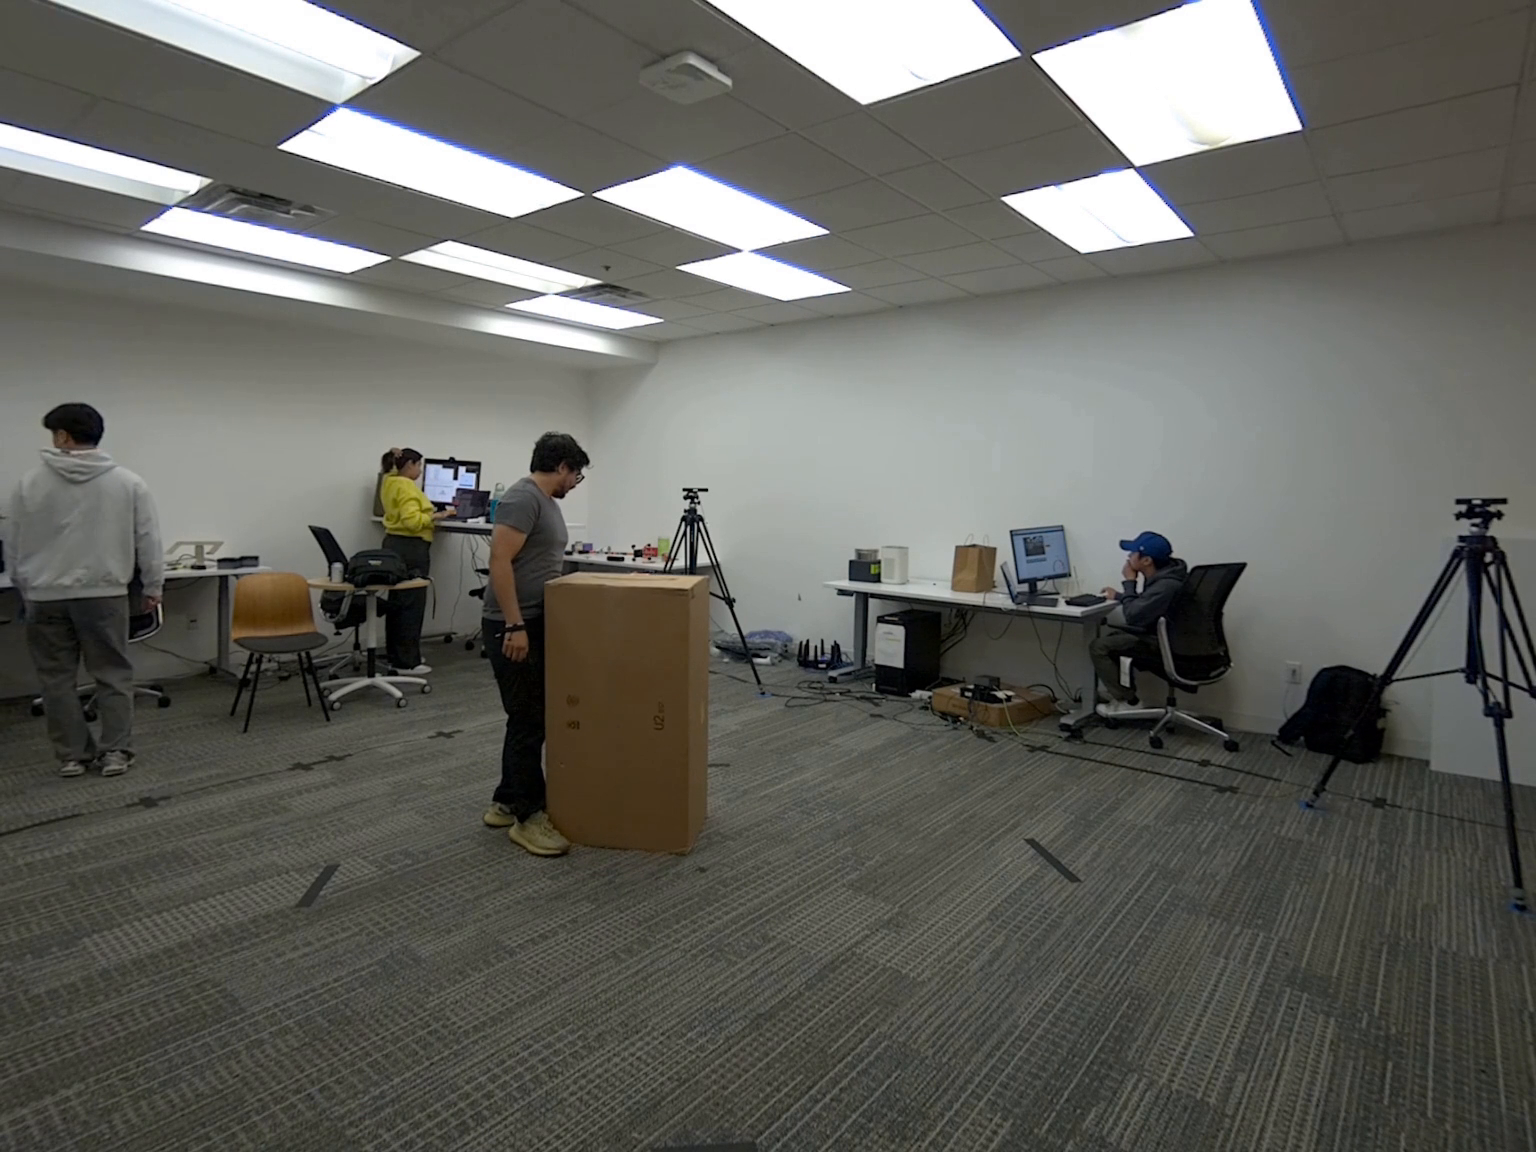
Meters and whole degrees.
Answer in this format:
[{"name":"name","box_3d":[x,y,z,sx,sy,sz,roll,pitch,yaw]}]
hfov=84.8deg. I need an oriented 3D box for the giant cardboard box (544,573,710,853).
[{"name":"giant cardboard box","box_3d":[-0.562,0.523,3.451,0.589,1.023,0.445,1,5,8]}]
